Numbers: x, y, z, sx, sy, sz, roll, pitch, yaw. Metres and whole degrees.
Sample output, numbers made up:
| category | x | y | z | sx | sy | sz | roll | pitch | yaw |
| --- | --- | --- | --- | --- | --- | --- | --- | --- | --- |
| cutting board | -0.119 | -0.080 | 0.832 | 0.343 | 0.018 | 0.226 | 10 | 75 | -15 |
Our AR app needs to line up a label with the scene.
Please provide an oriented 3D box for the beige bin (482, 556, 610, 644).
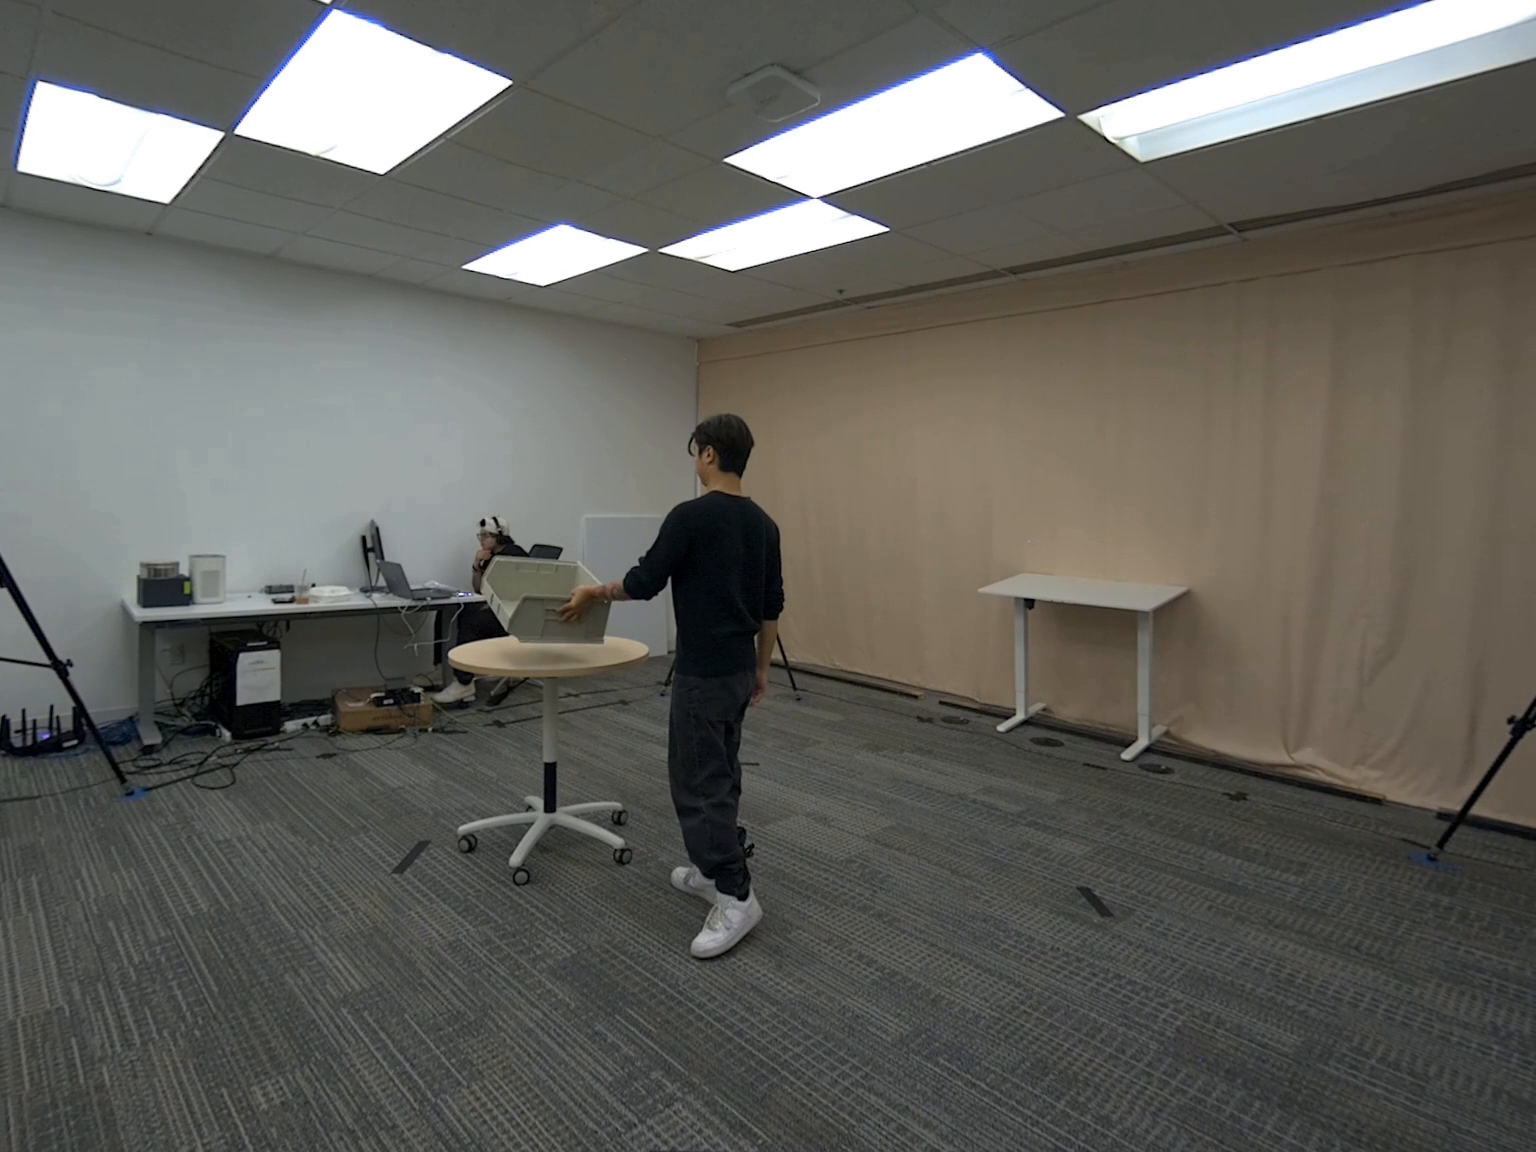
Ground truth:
| category | x | y | z | sx | sy | sz | roll | pitch | yaw |
| --- | --- | --- | --- | --- | --- | --- | --- | --- | --- |
| beige bin | -0.831 | 0.082 | 3.116 | 0.369 | 0.188 | 0.435 | 5 | 16 | -32 |
